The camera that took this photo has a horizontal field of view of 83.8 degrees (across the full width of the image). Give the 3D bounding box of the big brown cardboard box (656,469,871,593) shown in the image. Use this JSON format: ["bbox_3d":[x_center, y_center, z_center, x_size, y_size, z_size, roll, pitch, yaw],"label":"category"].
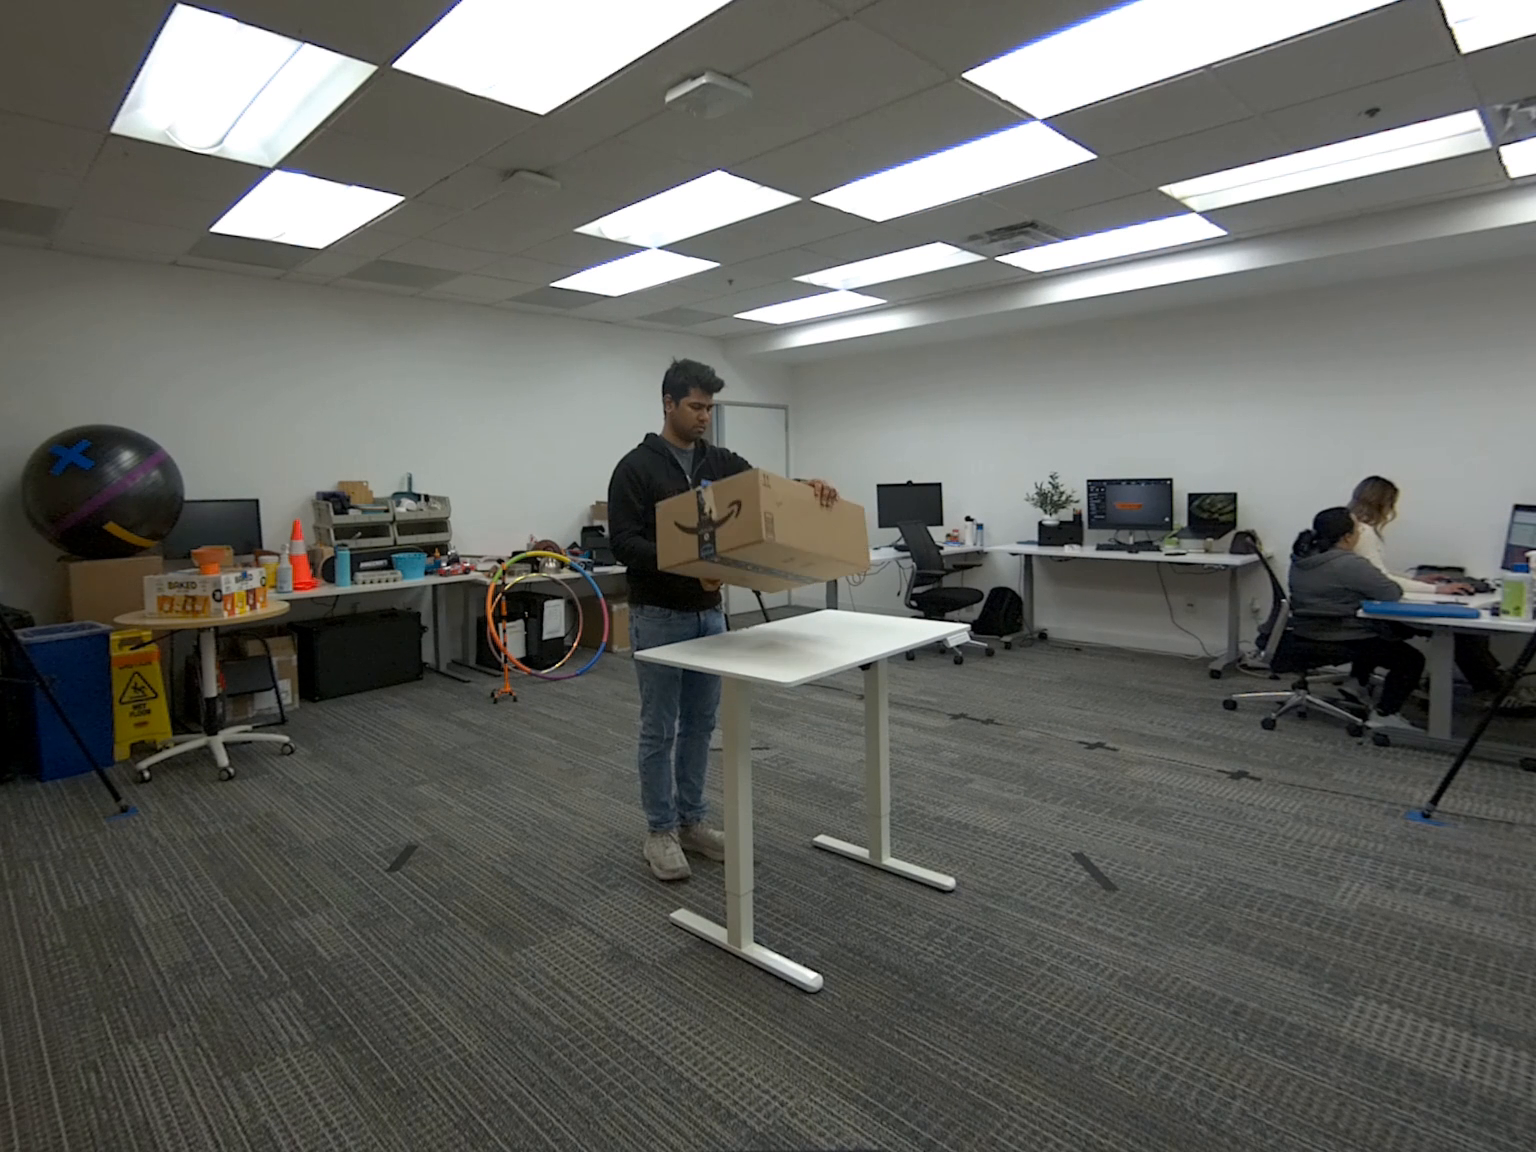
[{"bbox_3d":[-0.010,-0.121,2.698,0.426,0.236,0.569,-14,-17,37],"label":"big brown cardboard box"}]
